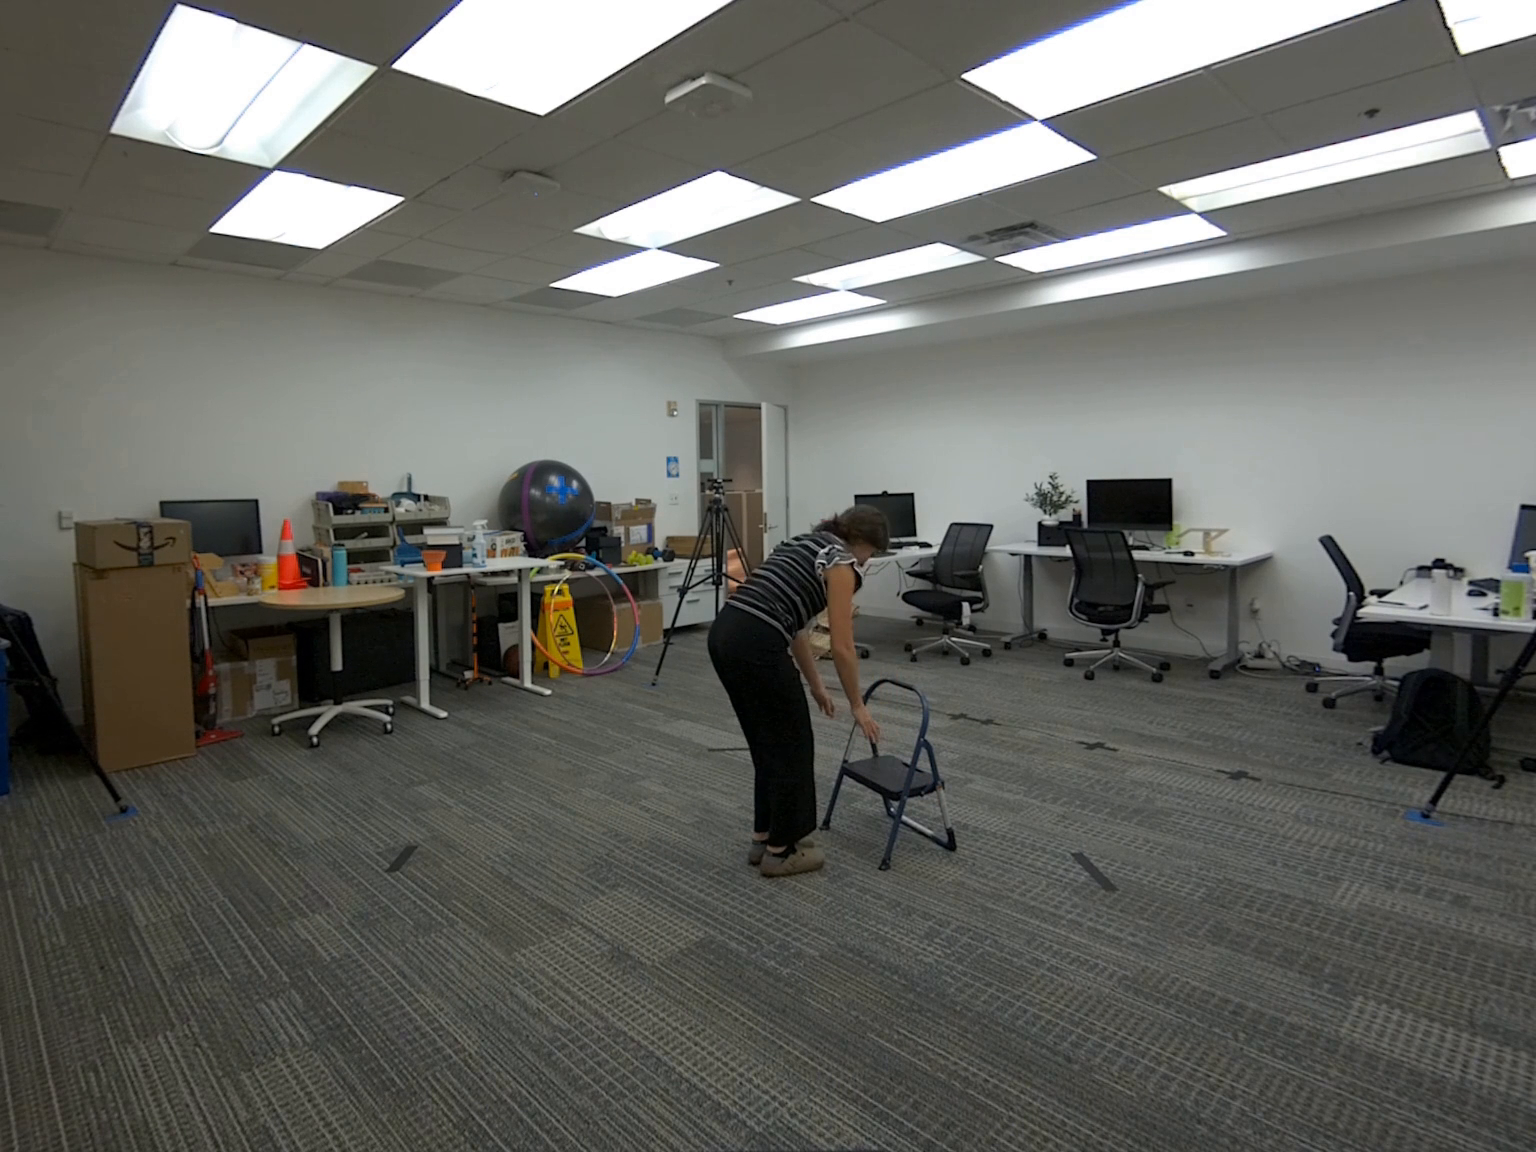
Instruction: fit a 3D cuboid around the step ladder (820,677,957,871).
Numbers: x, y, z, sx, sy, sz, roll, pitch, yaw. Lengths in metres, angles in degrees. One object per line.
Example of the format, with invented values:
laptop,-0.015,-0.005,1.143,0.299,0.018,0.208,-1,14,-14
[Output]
step ladder,0.452,0.714,3.280,0.341,0.604,0.442,-3,4,-27
